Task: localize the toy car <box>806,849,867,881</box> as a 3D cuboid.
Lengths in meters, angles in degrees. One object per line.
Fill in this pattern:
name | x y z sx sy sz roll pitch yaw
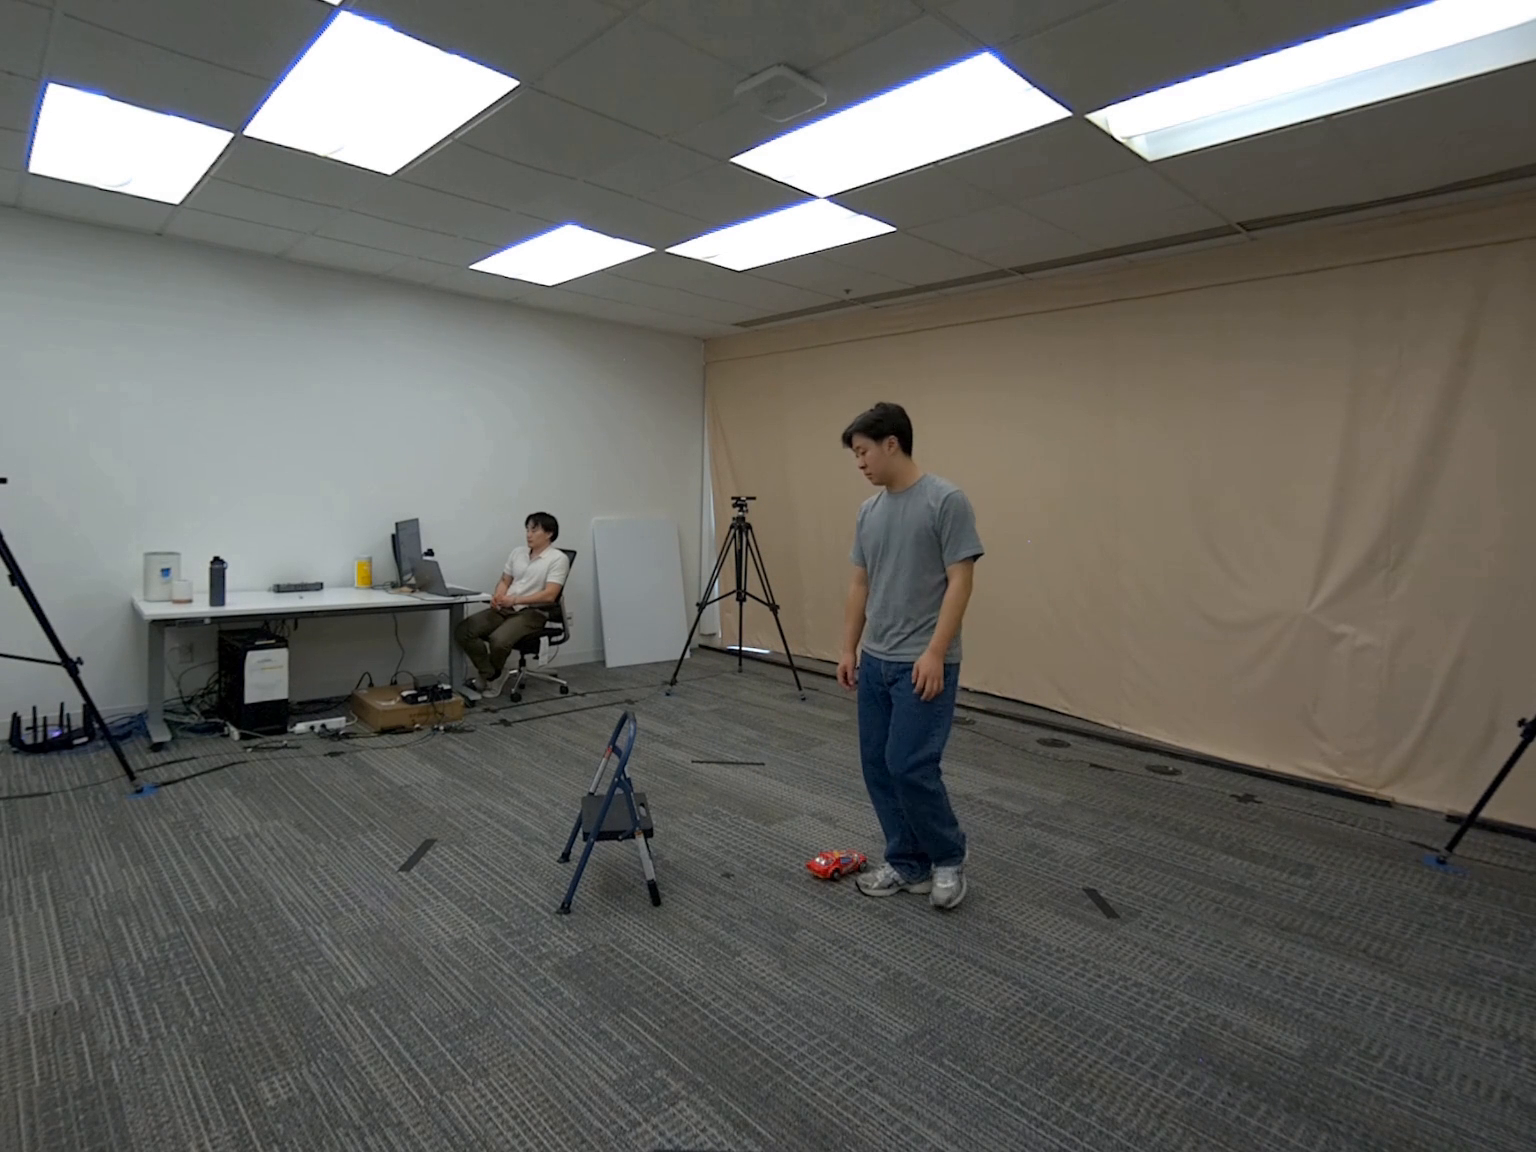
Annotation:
toy car | 0.246 1.077 3.145 0.248 0.083 0.133 11 -2 -38
